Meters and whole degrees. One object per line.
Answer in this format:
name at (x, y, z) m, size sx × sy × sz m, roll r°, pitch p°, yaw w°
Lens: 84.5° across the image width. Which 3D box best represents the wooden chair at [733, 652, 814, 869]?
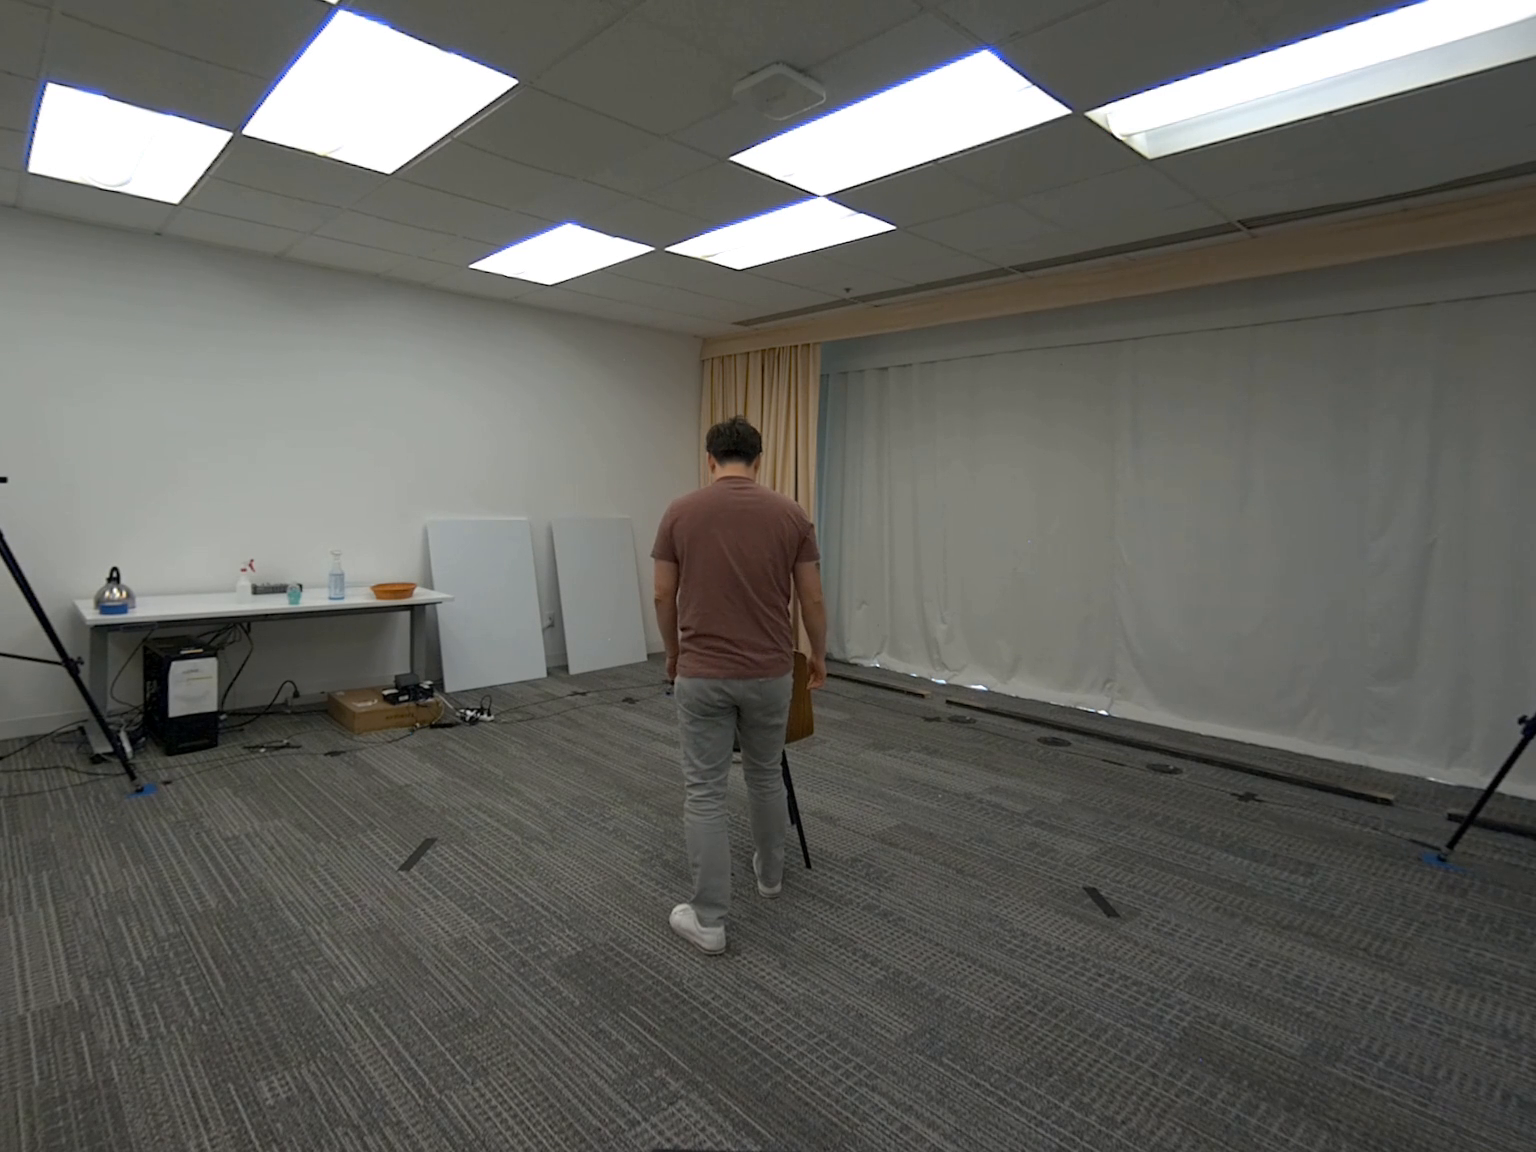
wooden chair at (-0.079, 0.654, 3.356) m, size 0.476 × 0.872 × 0.528 m, roll 0°, pitch 8°, yaw -5°
